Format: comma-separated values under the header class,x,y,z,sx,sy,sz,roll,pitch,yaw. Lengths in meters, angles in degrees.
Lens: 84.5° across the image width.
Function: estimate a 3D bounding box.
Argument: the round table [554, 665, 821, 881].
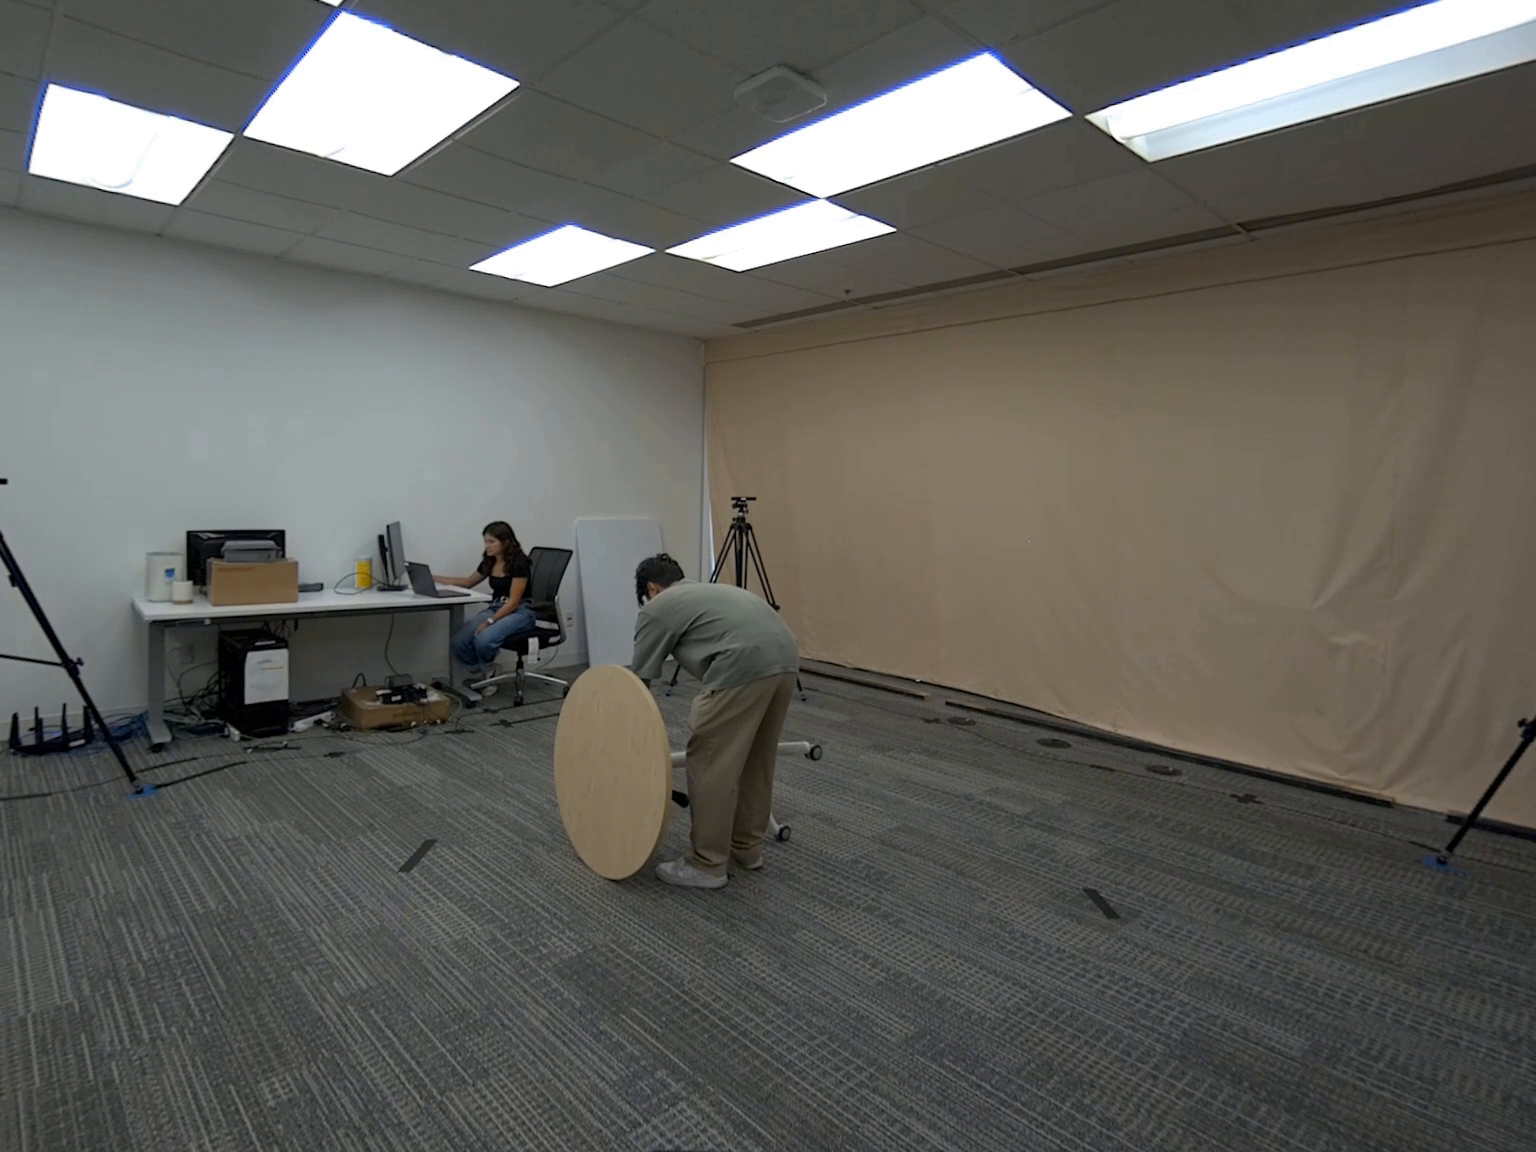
class,x,y,z,sx,sy,sz,roll,pitch,yaw
round table,-0.322,0.730,3.368,0.766,0.785,0.805,5,1,-42
